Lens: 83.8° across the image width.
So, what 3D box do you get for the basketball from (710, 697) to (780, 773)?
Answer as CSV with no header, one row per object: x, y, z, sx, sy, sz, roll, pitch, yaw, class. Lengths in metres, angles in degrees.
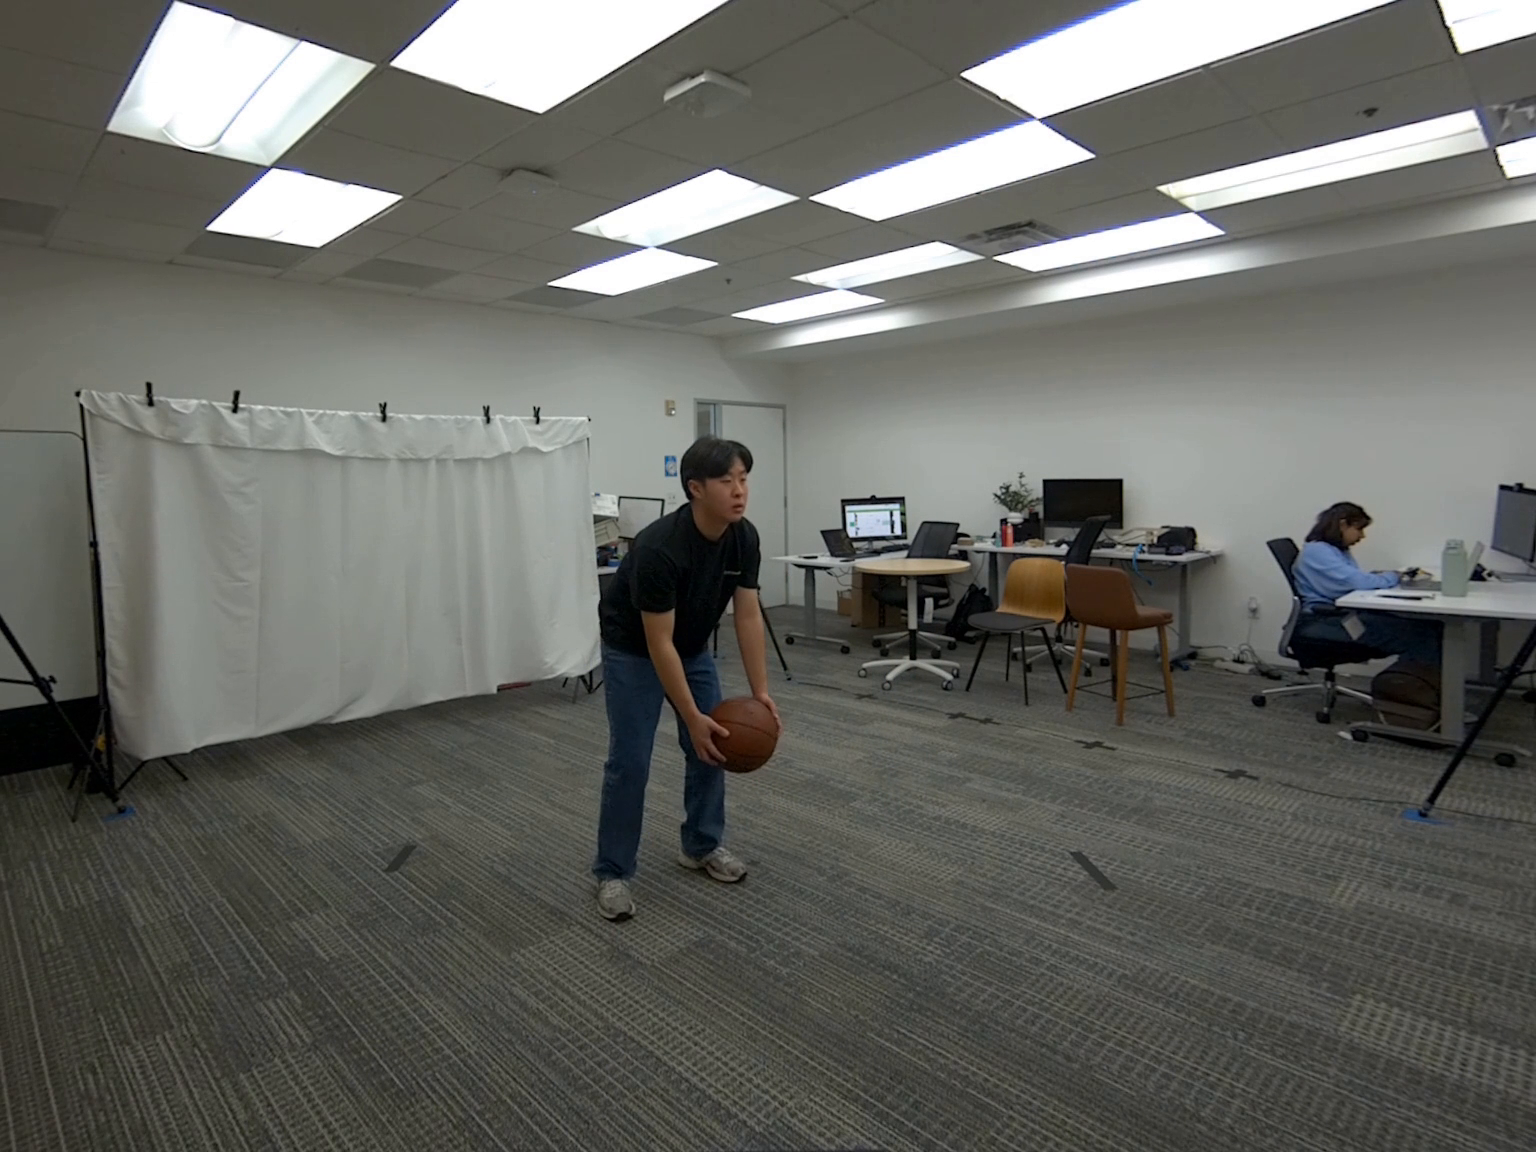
-0.092,0.502,2.717,0.236,0.235,0.237,-1,5,-2,basketball
